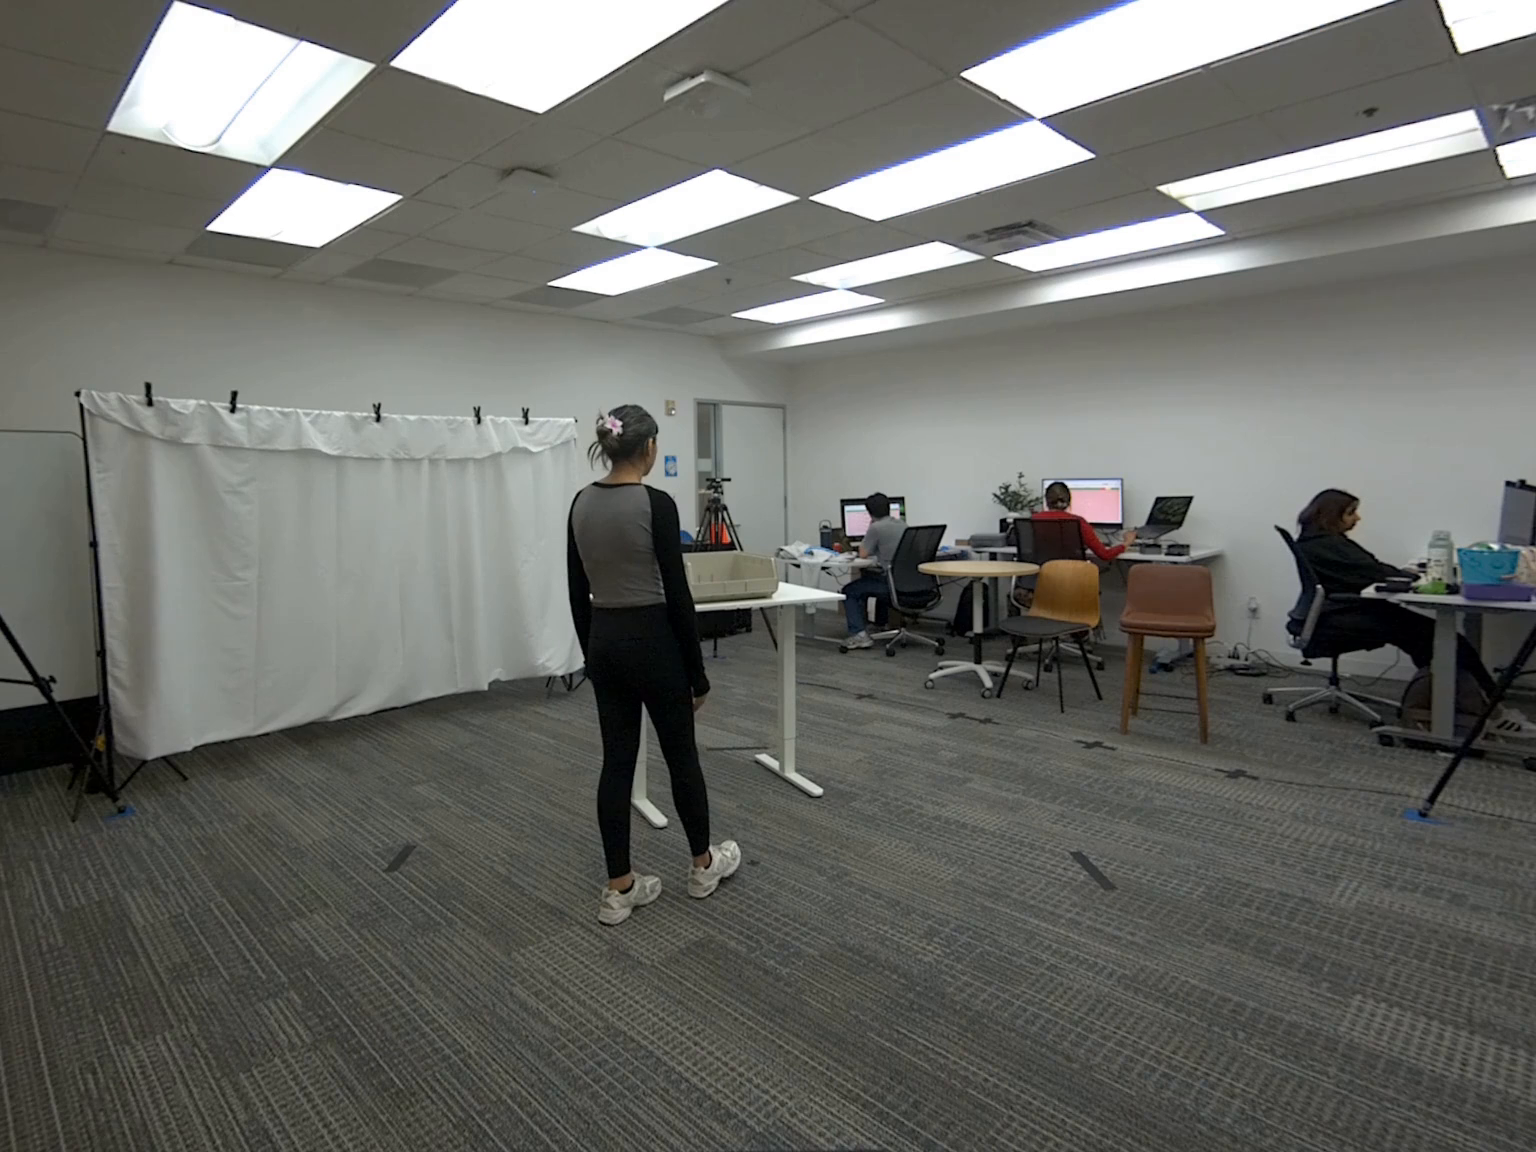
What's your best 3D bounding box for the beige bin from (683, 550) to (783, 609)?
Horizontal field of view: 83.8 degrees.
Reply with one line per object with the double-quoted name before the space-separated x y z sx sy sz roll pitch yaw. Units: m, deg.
"beige bin" -0.222 0.005 3.724 0.413 0.188 0.387 -5 6 -28
